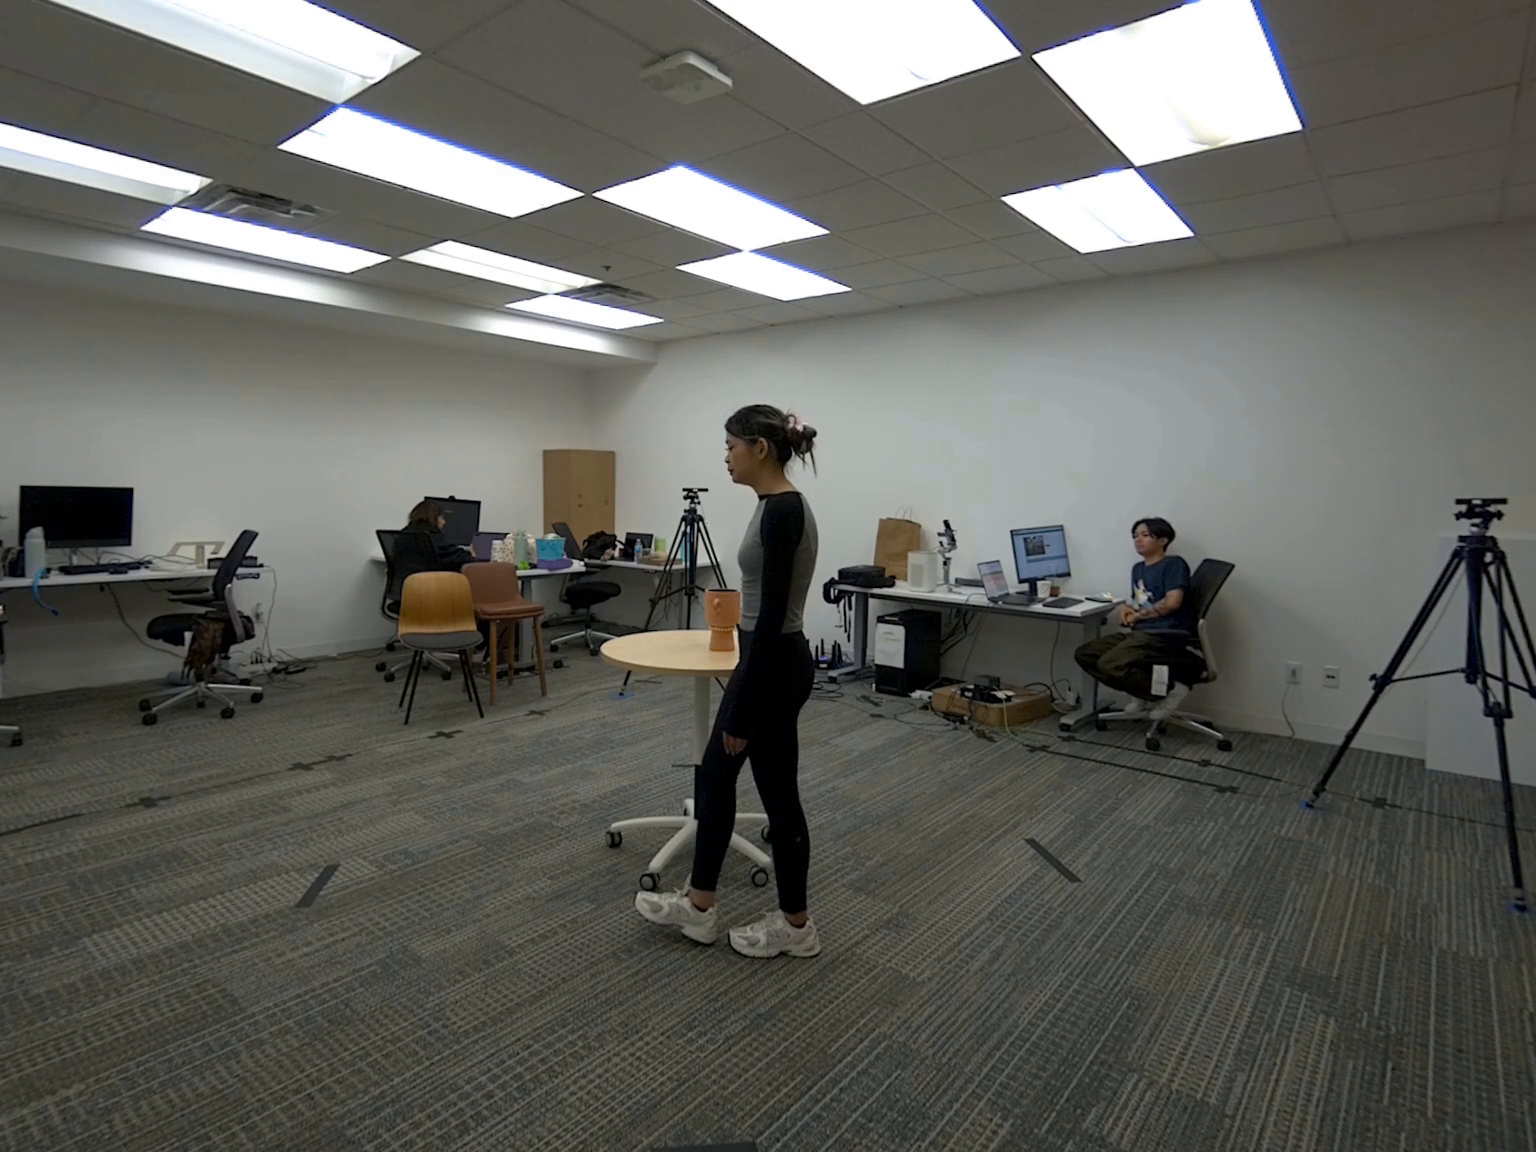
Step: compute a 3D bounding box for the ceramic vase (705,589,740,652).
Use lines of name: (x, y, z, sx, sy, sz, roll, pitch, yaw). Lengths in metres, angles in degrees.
ceramic vase: (-0.181, 0.162, 3.172, 0.154, 0.219, 0.139, 0, 3, -36)
